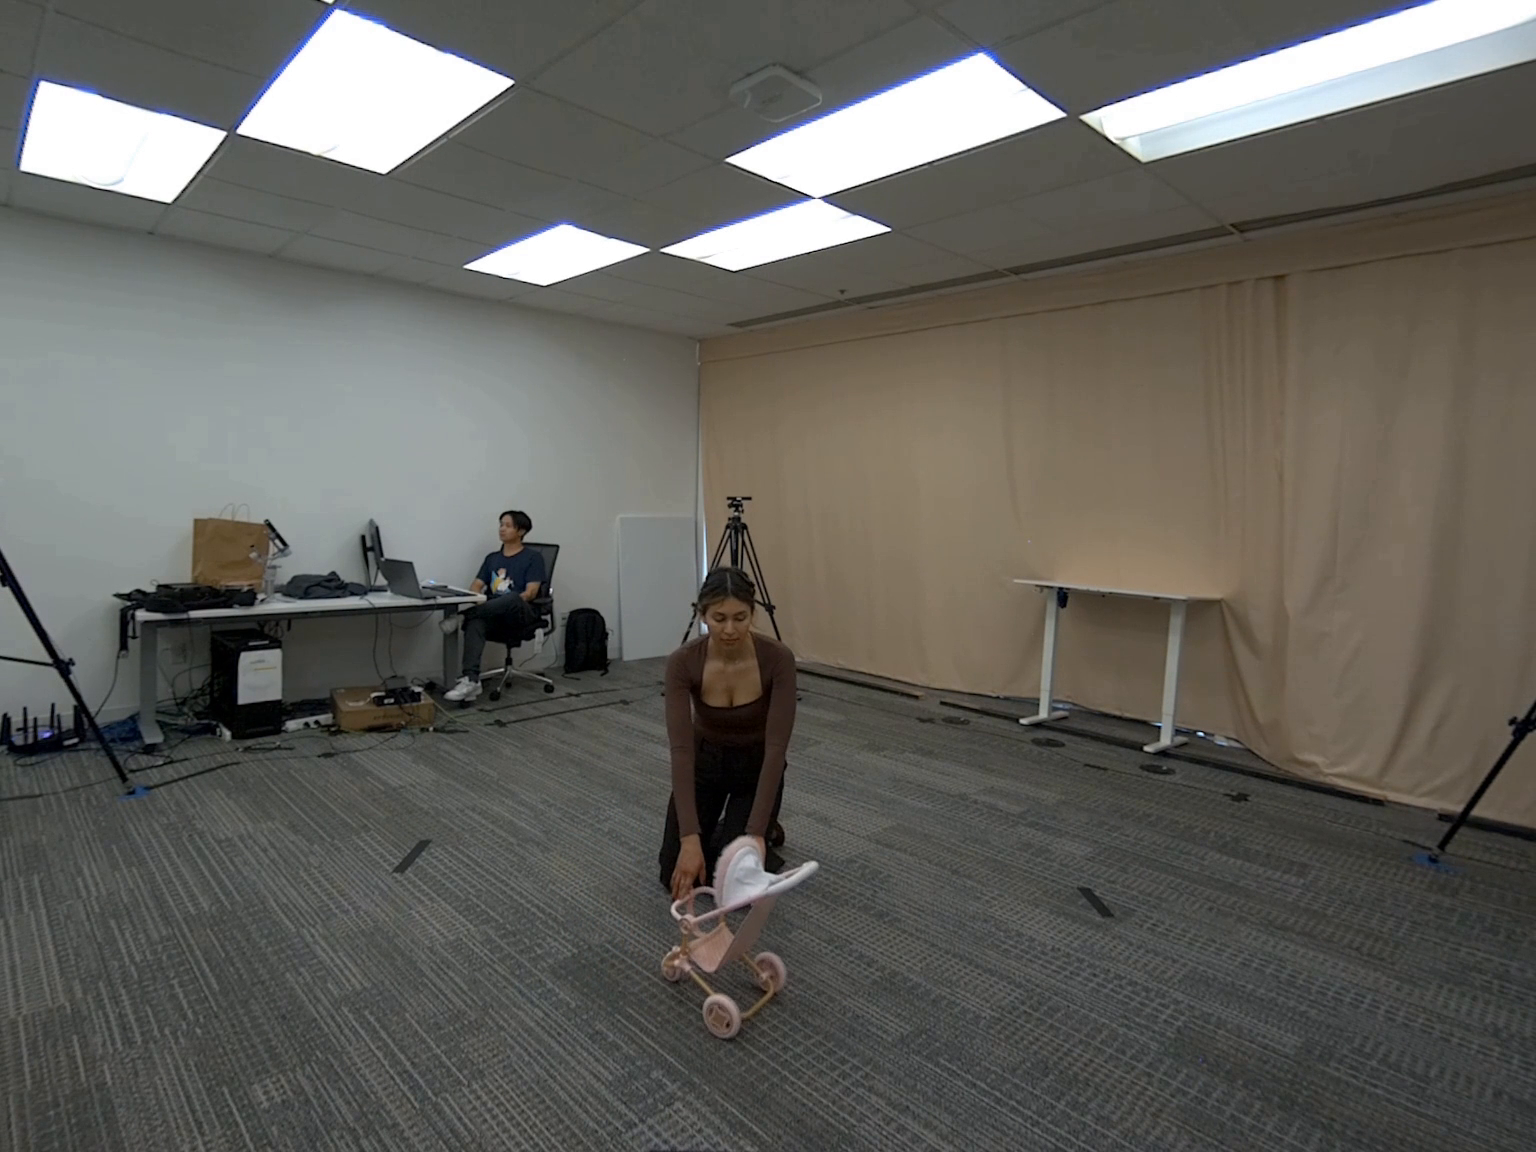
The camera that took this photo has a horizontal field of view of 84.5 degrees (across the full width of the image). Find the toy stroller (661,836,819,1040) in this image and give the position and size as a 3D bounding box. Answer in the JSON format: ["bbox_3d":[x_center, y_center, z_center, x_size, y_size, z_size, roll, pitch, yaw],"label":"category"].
[{"bbox_3d":[-0.114,0.947,2.316,0.351,0.532,0.275,23,13,34],"label":"toy stroller"}]
